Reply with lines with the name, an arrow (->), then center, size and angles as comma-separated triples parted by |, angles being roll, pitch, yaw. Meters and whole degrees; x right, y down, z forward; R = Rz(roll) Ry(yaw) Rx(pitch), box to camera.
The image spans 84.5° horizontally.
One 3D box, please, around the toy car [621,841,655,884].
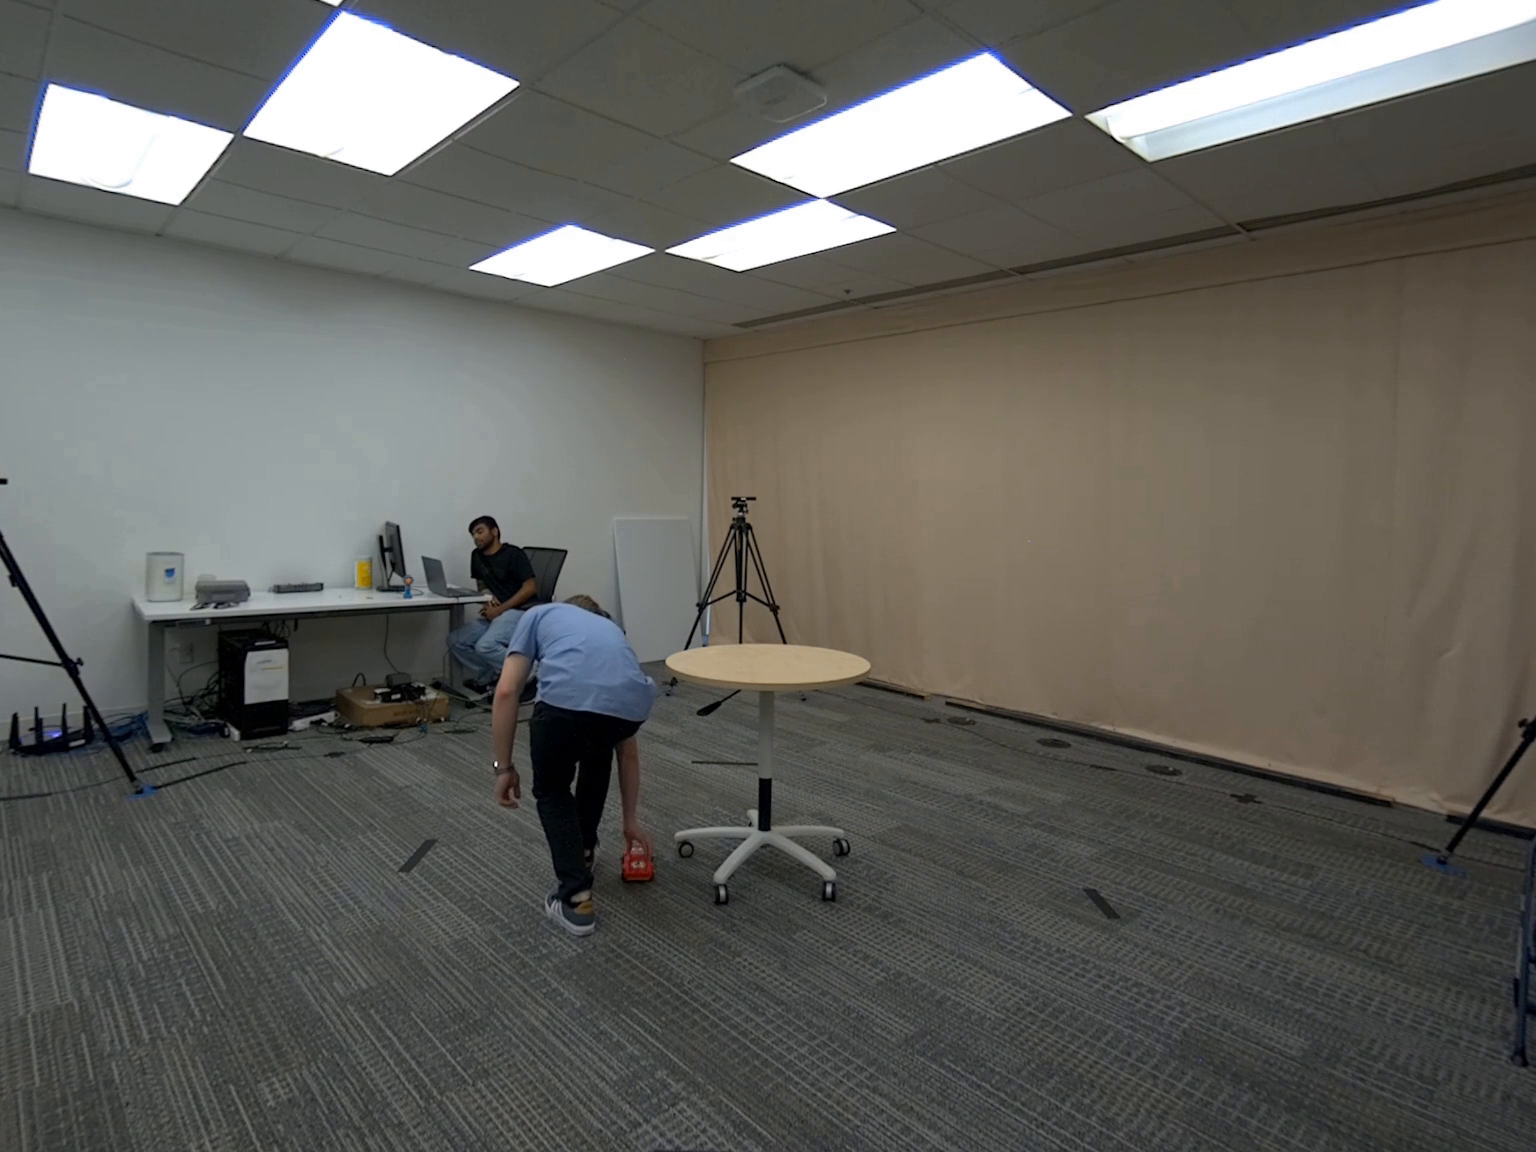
toy car -> -0.491, 1.073, 3.109 | 0.129, 0.083, 0.255 | 1, -5, -10
